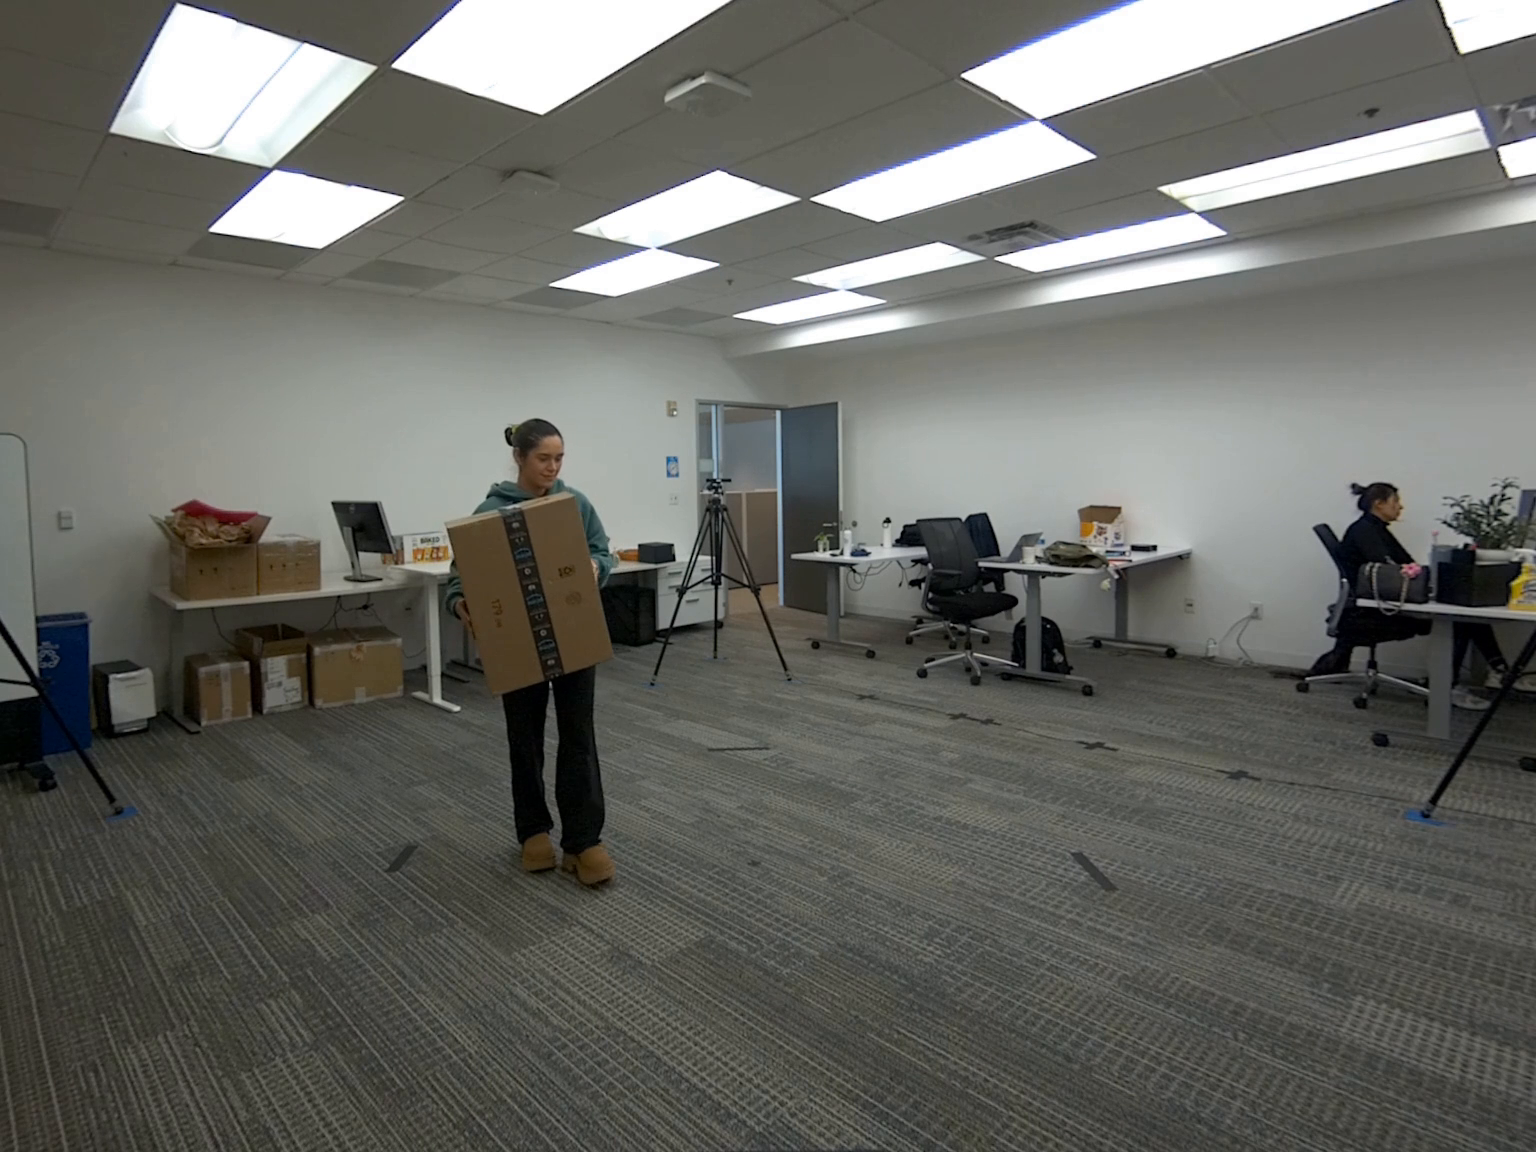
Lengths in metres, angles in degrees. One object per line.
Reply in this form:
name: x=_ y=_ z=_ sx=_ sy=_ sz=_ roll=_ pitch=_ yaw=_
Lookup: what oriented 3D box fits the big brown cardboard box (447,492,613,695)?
big brown cardboard box: x=-0.793 y=0.051 z=2.847 sx=0.412 sy=0.582 sz=0.239 roll=-15 pitch=12 yaw=-18
